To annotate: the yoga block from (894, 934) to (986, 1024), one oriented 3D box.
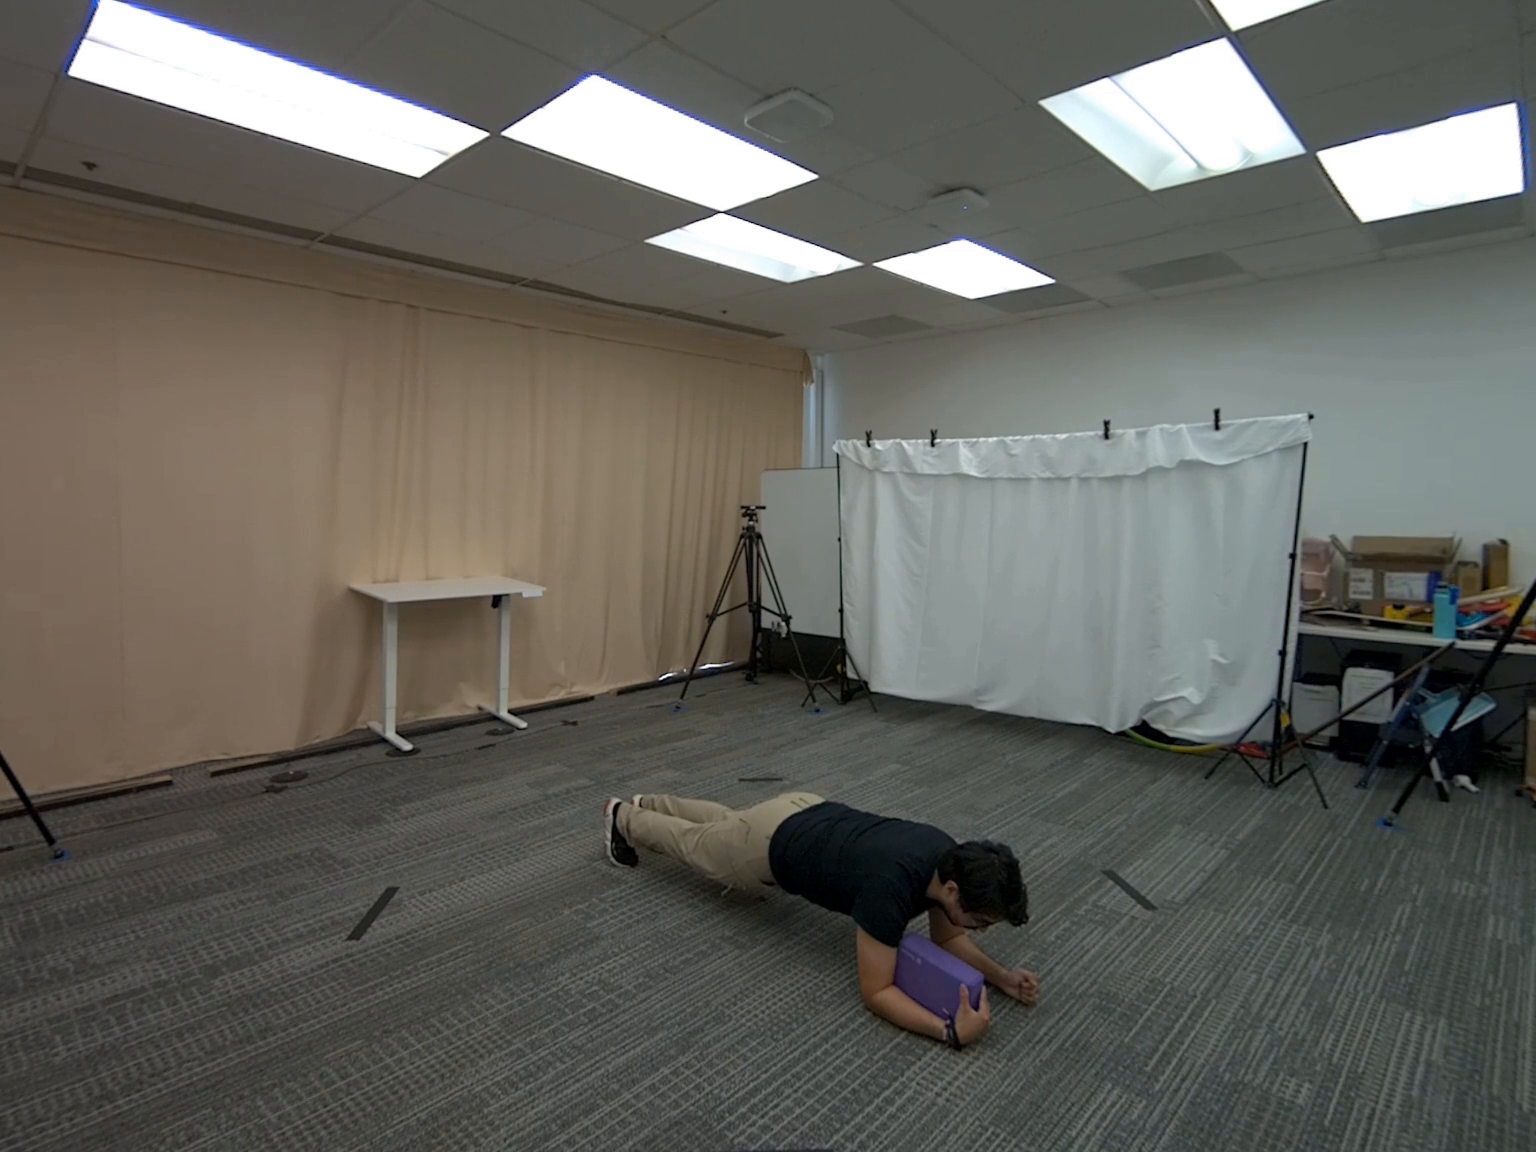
[{"bbox_3d":[0.451,1.093,2.281,0.074,0.148,0.238,0,11,-42],"label":"yoga block"}]
